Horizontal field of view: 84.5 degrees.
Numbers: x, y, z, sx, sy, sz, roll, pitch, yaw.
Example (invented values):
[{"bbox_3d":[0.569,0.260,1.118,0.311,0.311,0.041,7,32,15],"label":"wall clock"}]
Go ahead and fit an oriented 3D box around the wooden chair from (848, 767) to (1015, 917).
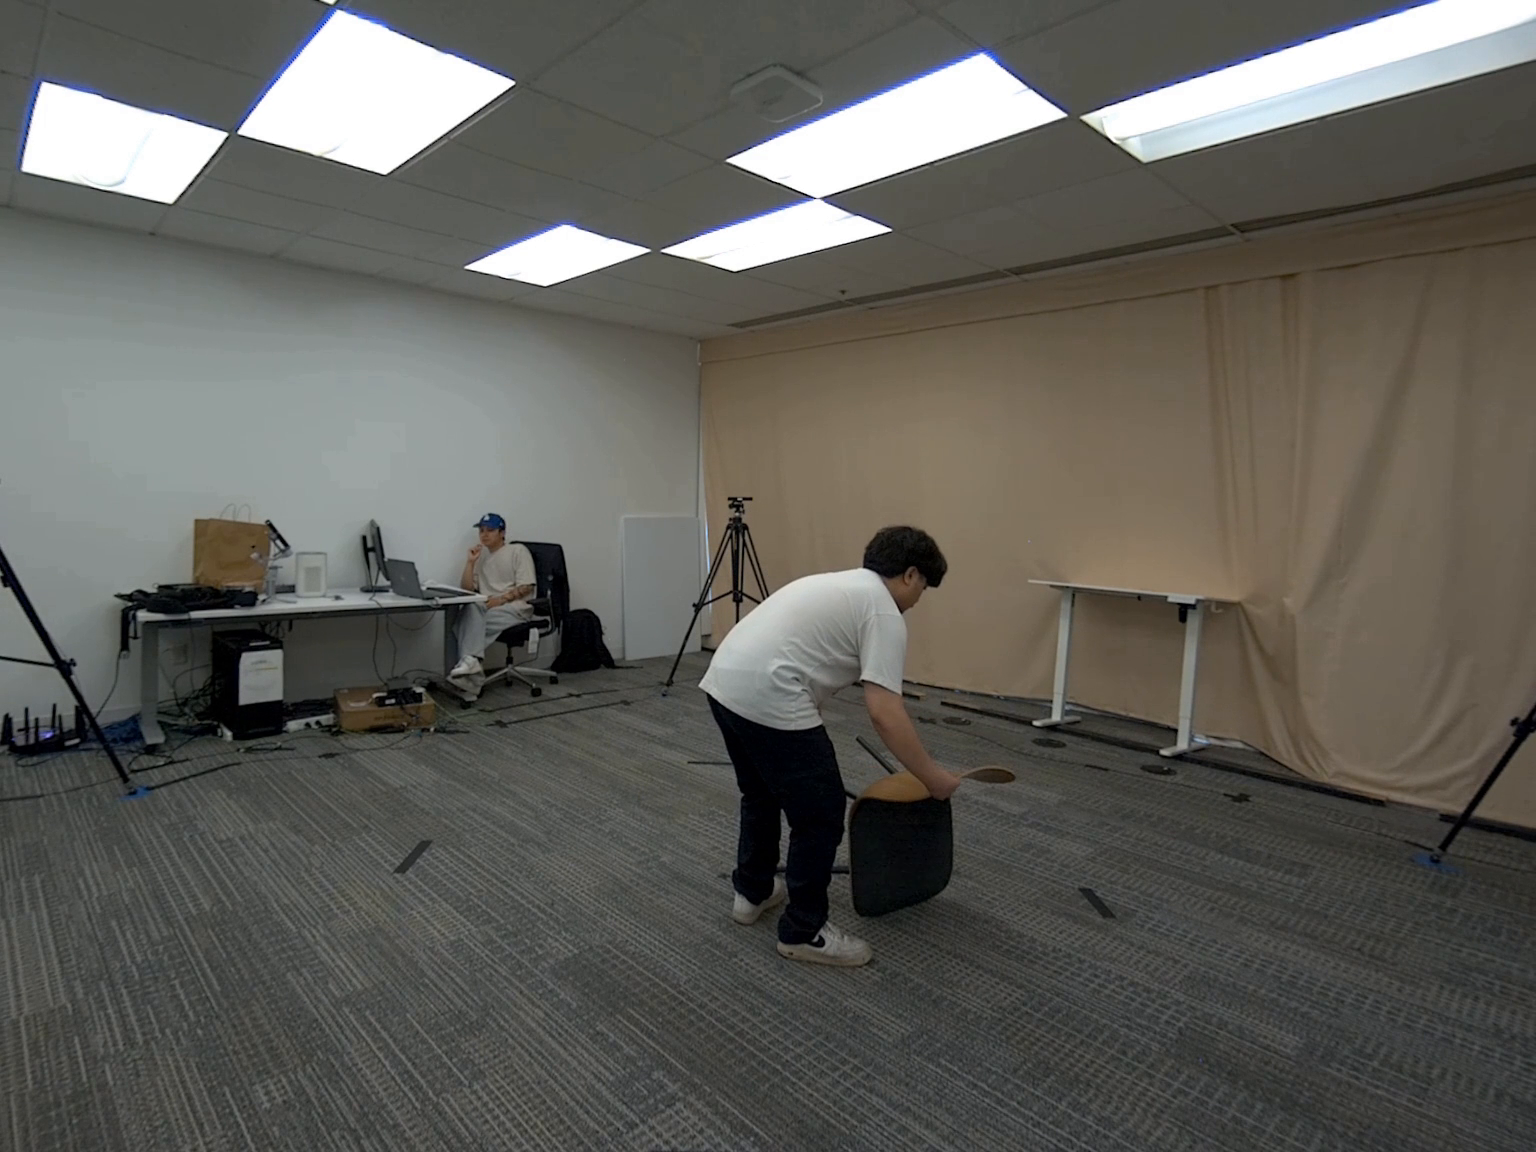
[{"bbox_3d":[0.429,0.880,2.910,0.467,0.525,0.894,0,-4,-35],"label":"wooden chair"}]
